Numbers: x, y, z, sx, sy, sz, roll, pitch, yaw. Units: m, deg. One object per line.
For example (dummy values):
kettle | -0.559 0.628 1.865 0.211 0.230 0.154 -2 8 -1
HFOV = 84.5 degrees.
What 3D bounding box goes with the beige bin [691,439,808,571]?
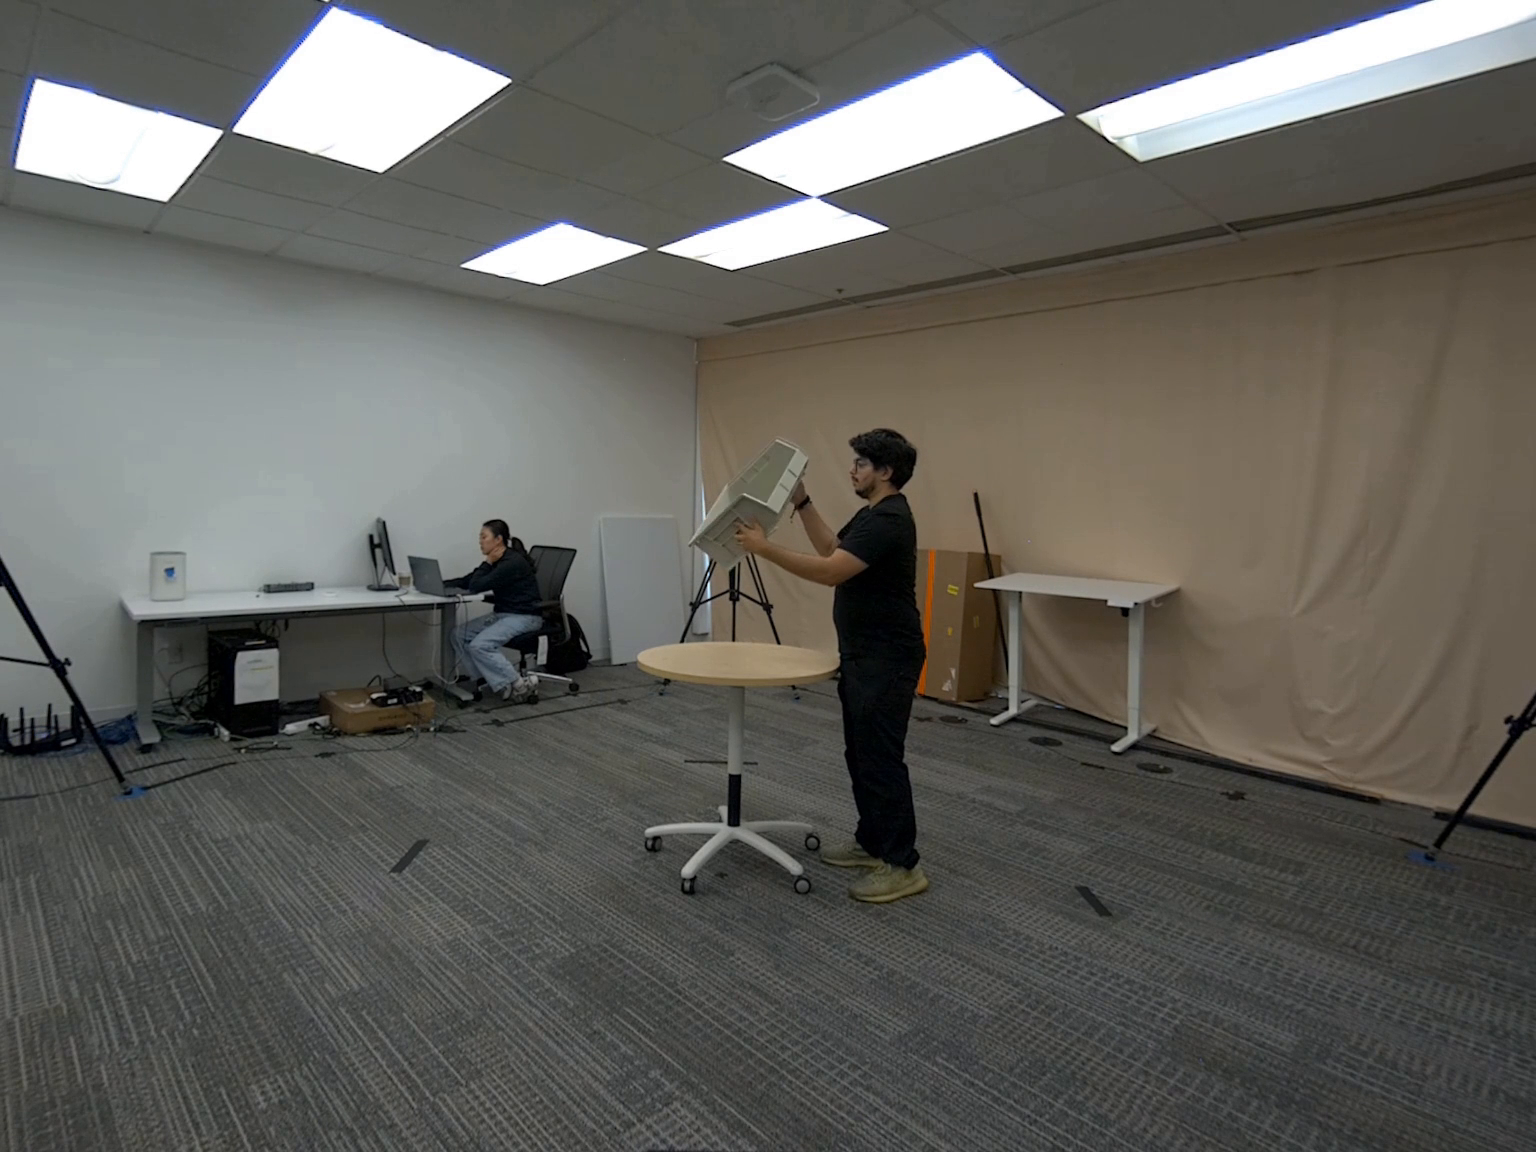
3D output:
beige bin | -0.059 -0.271 3.167 0.378 0.187 0.426 -41 15 40
